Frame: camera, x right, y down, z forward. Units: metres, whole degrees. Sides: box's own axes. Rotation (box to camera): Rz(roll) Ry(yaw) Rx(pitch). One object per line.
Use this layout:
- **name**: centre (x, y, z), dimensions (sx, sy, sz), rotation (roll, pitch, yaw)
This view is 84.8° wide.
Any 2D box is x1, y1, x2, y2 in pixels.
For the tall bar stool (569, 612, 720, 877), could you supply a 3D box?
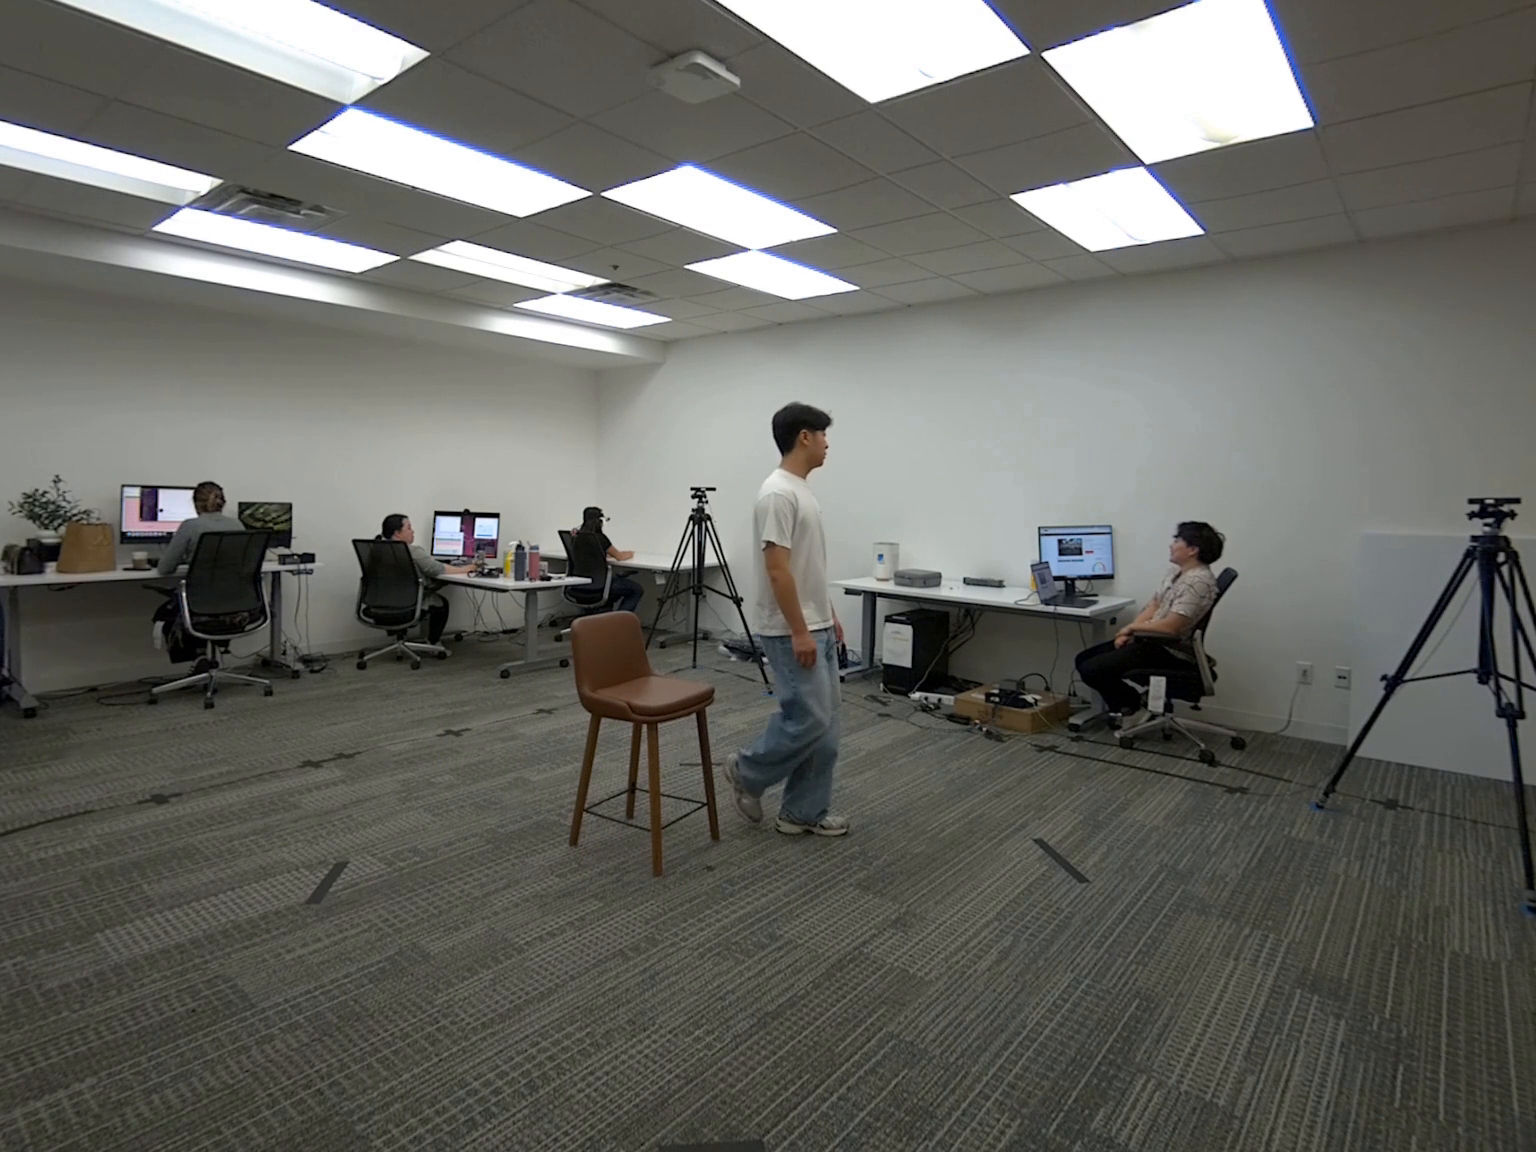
- **tall bar stool**: centre (-0.493, 0.608, 3.309), dimensions (0.481, 0.889, 0.444), rotation (0, 2, 32)
